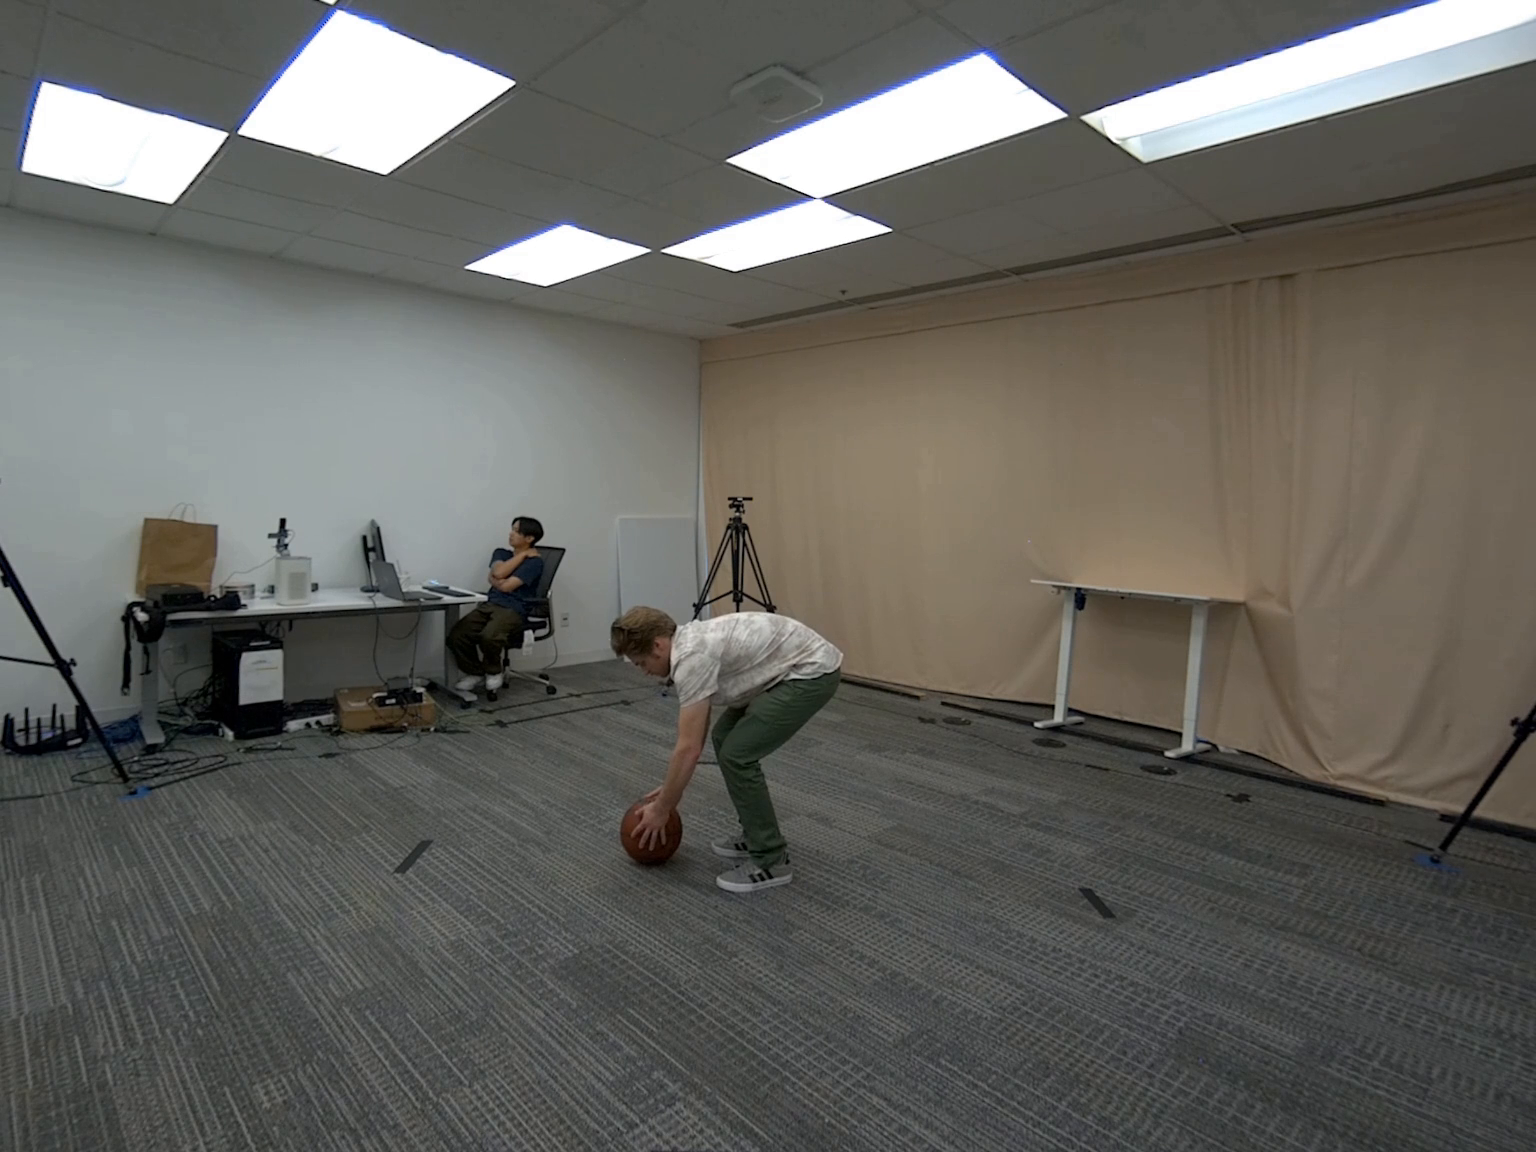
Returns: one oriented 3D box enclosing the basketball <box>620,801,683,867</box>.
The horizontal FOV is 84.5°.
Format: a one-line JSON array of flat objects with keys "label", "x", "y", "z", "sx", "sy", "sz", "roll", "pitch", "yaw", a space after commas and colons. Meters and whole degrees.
[{"label": "basketball", "x": -0.452, "y": 0.964, "z": 3.218, "sx": 0.236, "sy": 0.235, "sz": 0.237, "roll": 1, "pitch": 4, "yaw": -1}]
